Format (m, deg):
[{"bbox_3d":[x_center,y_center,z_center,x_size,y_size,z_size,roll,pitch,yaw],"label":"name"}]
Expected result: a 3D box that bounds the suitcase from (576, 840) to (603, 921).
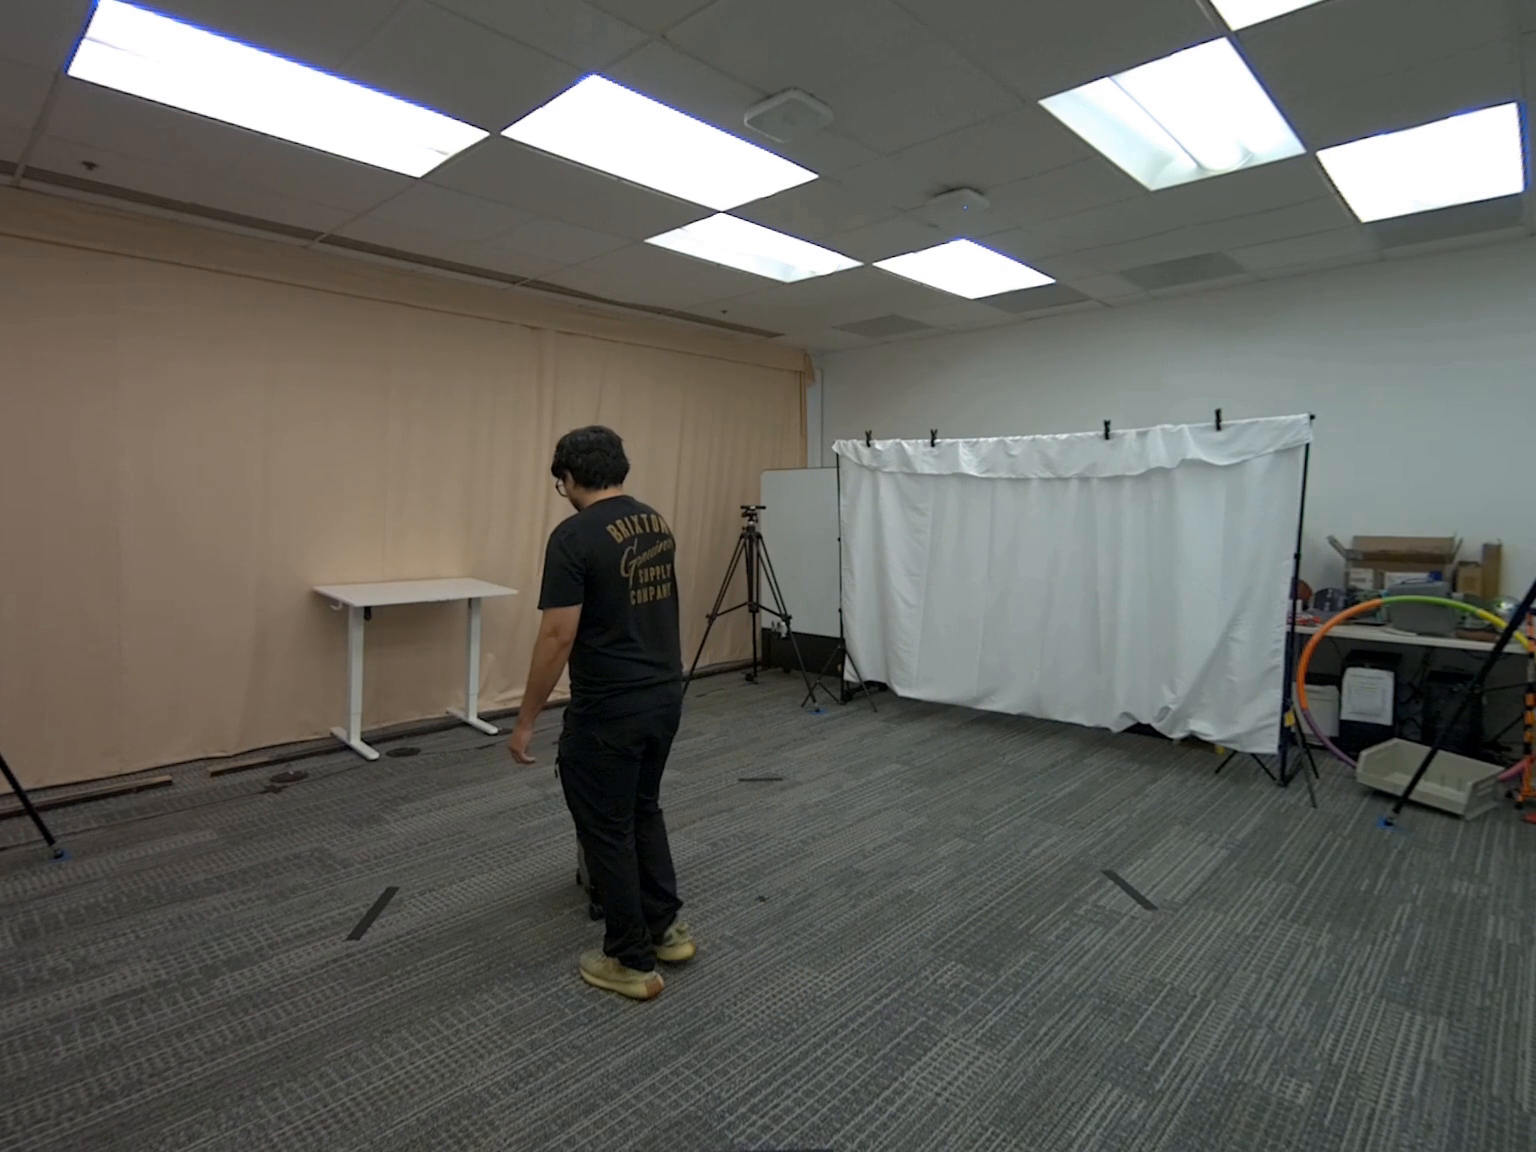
[{"bbox_3d":[-0.555,0.667,3.014,0.253,0.977,0.391,-4,2,-18],"label":"suitcase"}]
